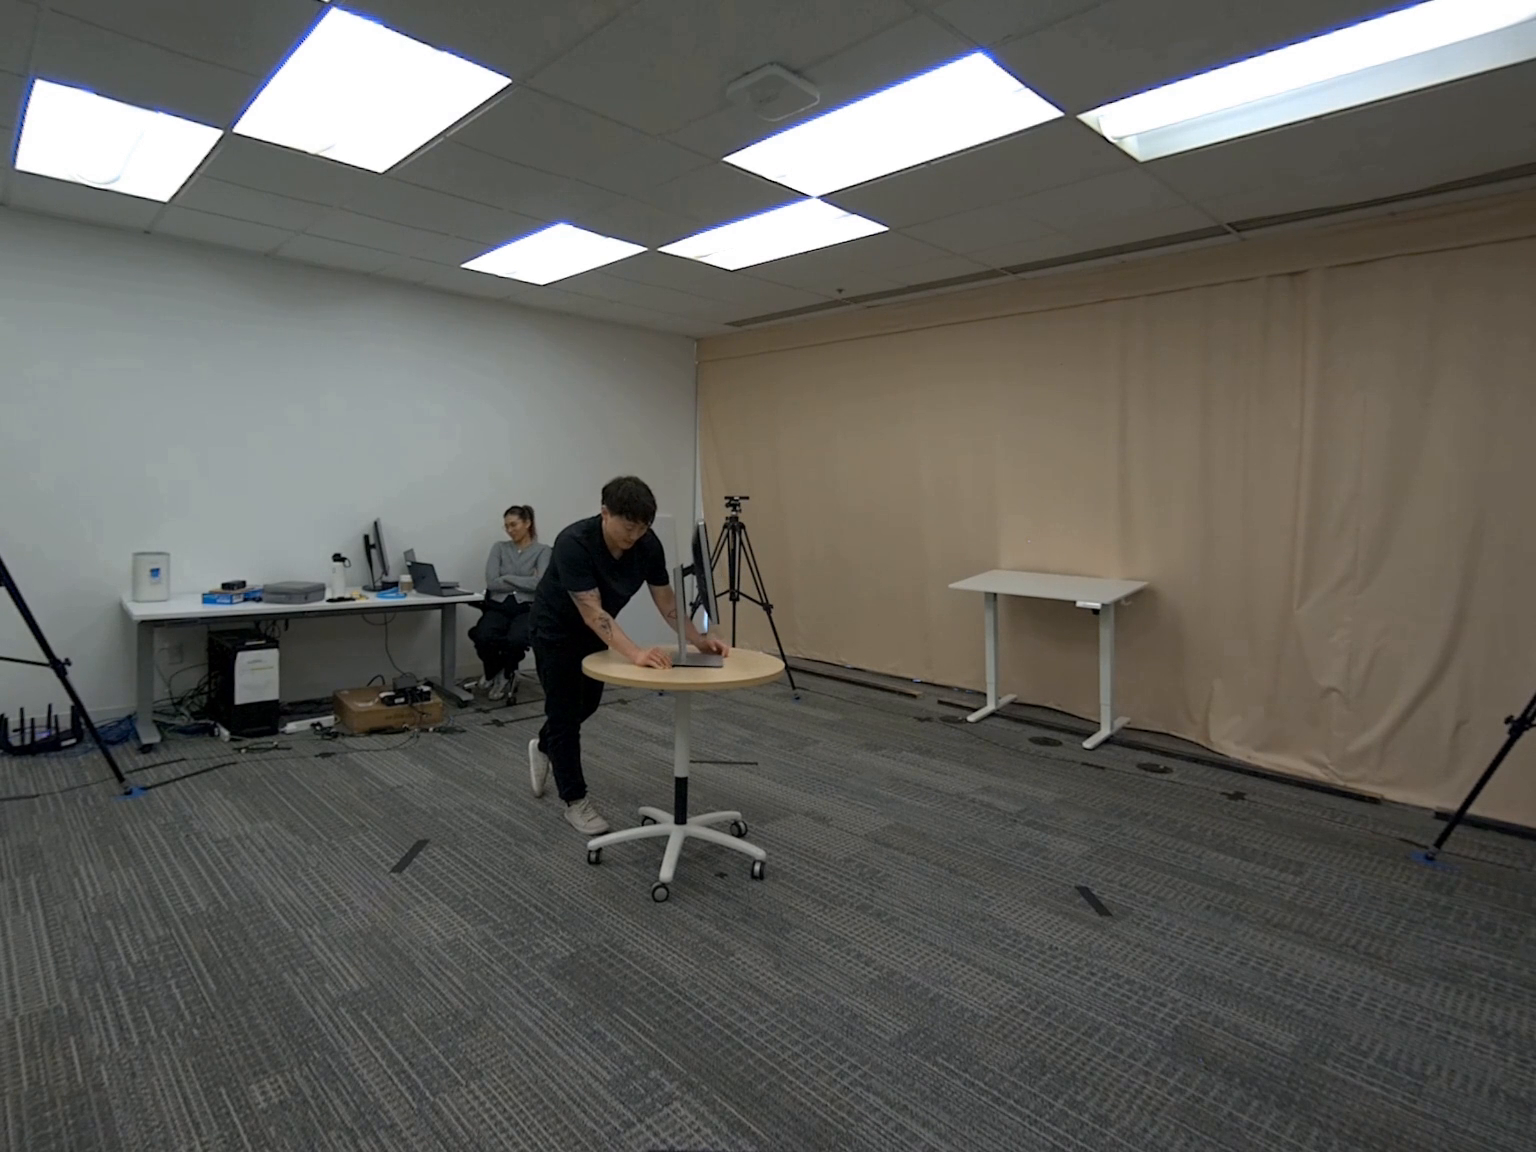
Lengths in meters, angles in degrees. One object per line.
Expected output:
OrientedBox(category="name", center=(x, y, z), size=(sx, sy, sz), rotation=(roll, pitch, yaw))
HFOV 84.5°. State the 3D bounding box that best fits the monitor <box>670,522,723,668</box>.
OrientedBox(category="monitor", center=(-0.280, 0.065, 3.201), size=(0.186, 0.522, 0.542), rotation=(4, 3, -6))
